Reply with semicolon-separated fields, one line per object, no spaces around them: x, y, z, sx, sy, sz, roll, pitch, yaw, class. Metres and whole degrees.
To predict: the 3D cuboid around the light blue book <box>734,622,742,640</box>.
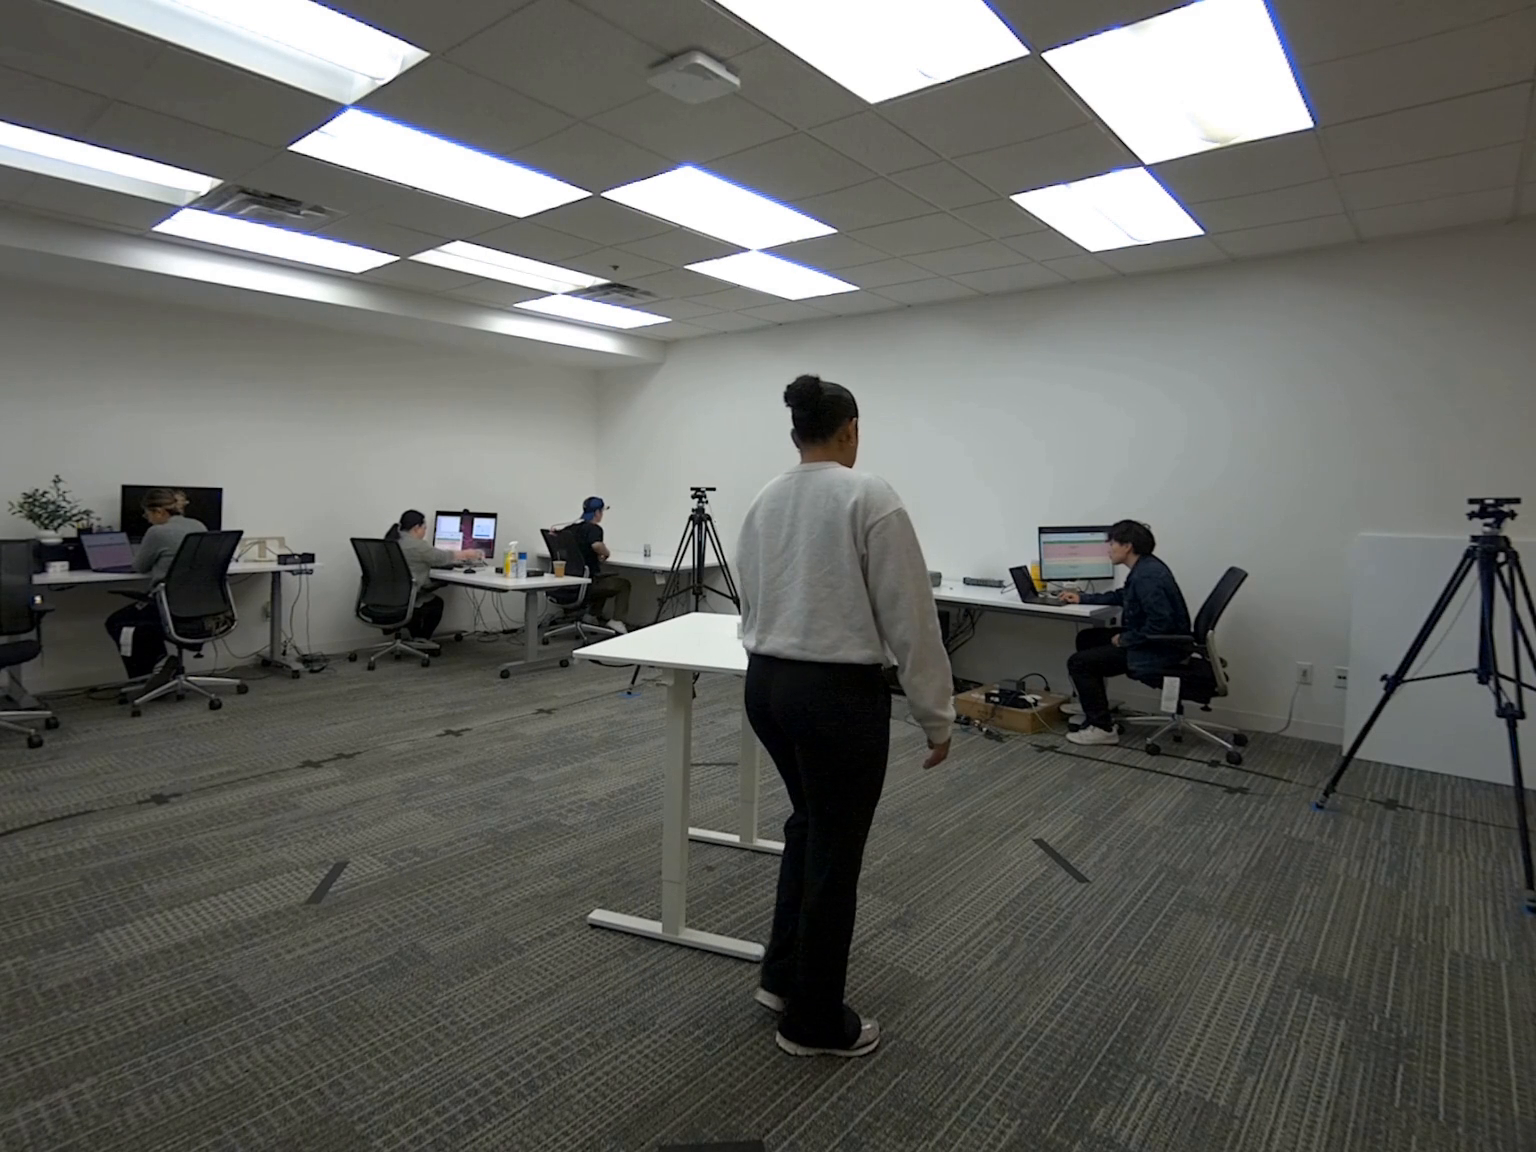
0.042;0.179;2.915;0.267;0.059;0.188;4;5;21;light blue book
